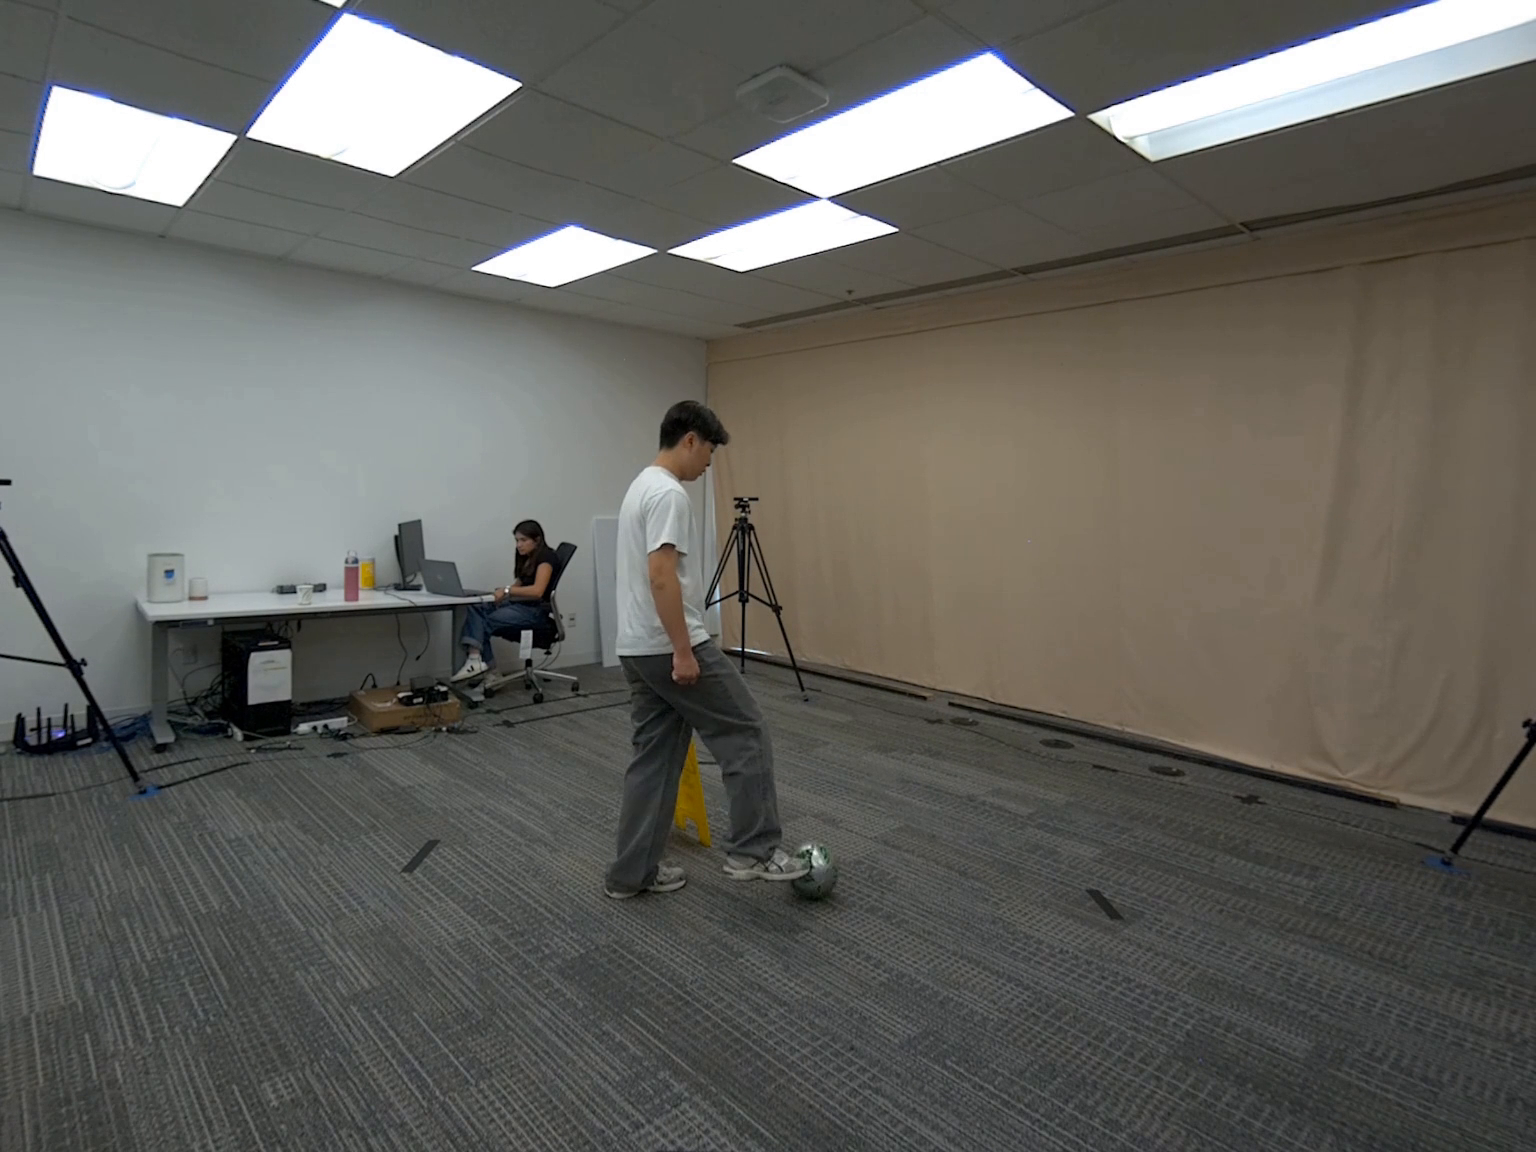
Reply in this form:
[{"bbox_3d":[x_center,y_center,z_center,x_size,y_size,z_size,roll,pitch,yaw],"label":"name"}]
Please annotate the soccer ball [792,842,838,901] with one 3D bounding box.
[{"bbox_3d":[0.143,1.039,2.959,0.187,0.187,0.188,1,4,-1],"label":"soccer ball"}]
